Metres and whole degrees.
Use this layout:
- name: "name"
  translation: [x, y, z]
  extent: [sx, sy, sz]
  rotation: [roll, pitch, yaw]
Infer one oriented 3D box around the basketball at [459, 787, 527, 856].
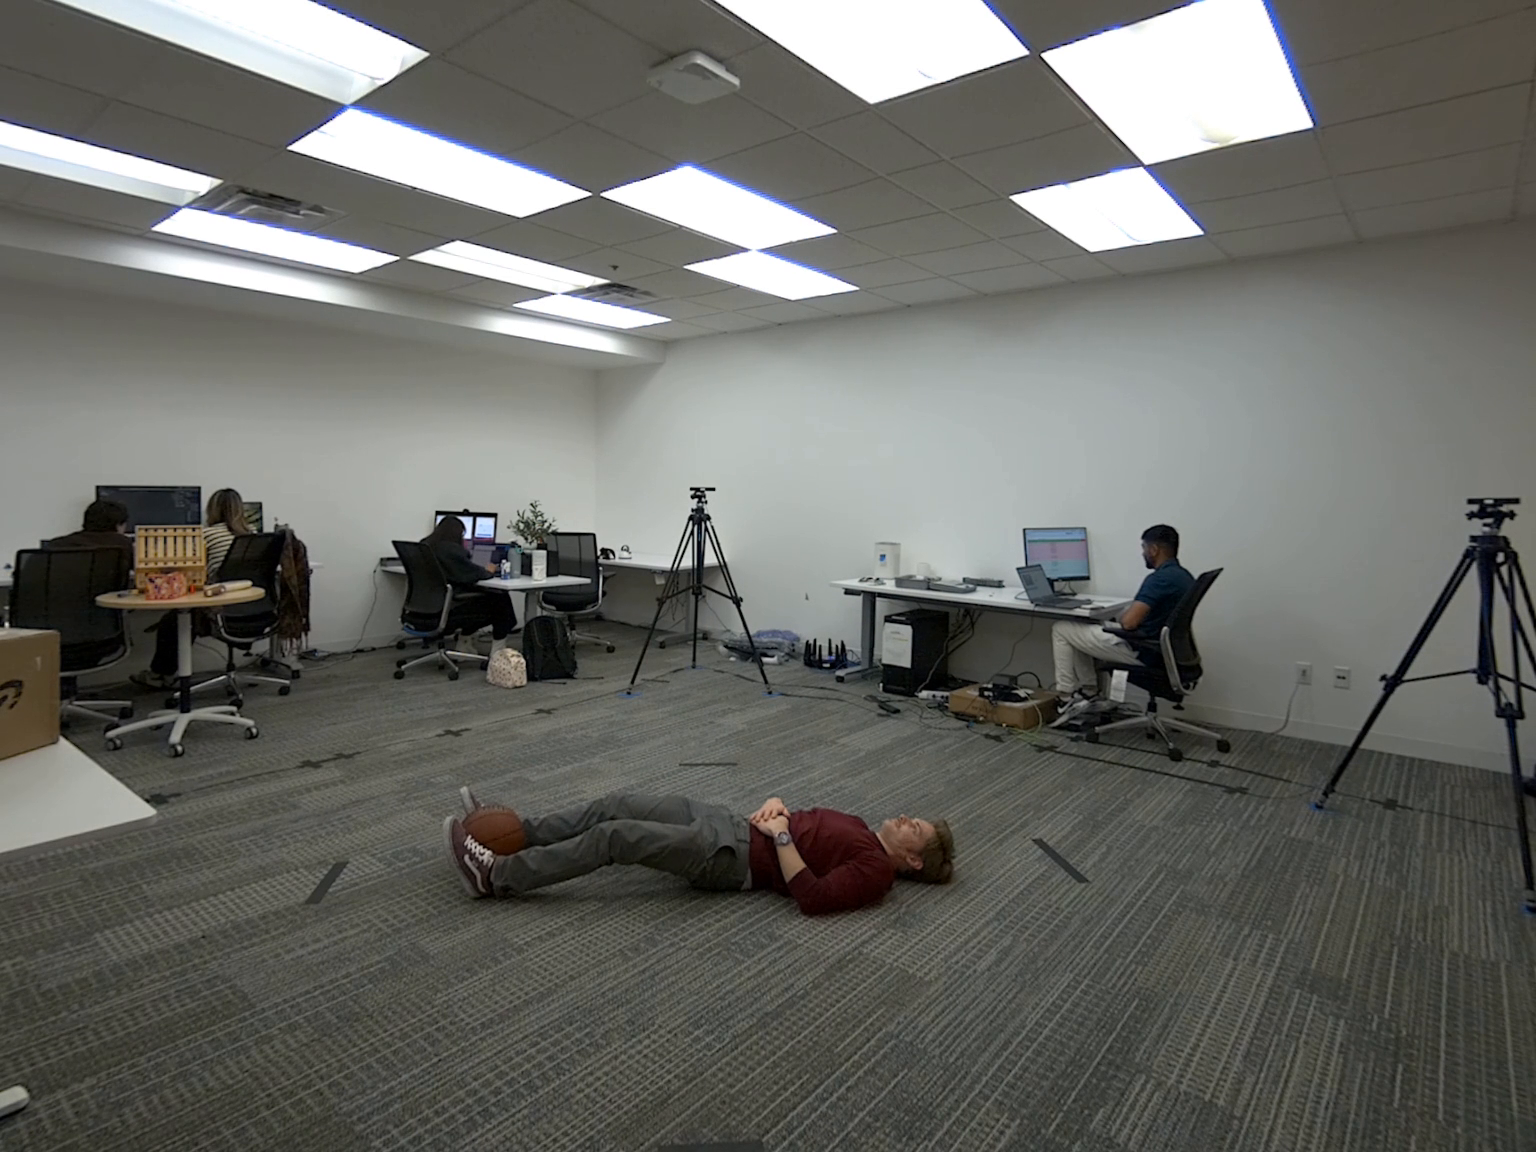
- name: "basketball"
  translation: [-0.992, 0.928, 3.006]
  extent: [0.236, 0.235, 0.237]
  rotation: [-3, 3, -2]
